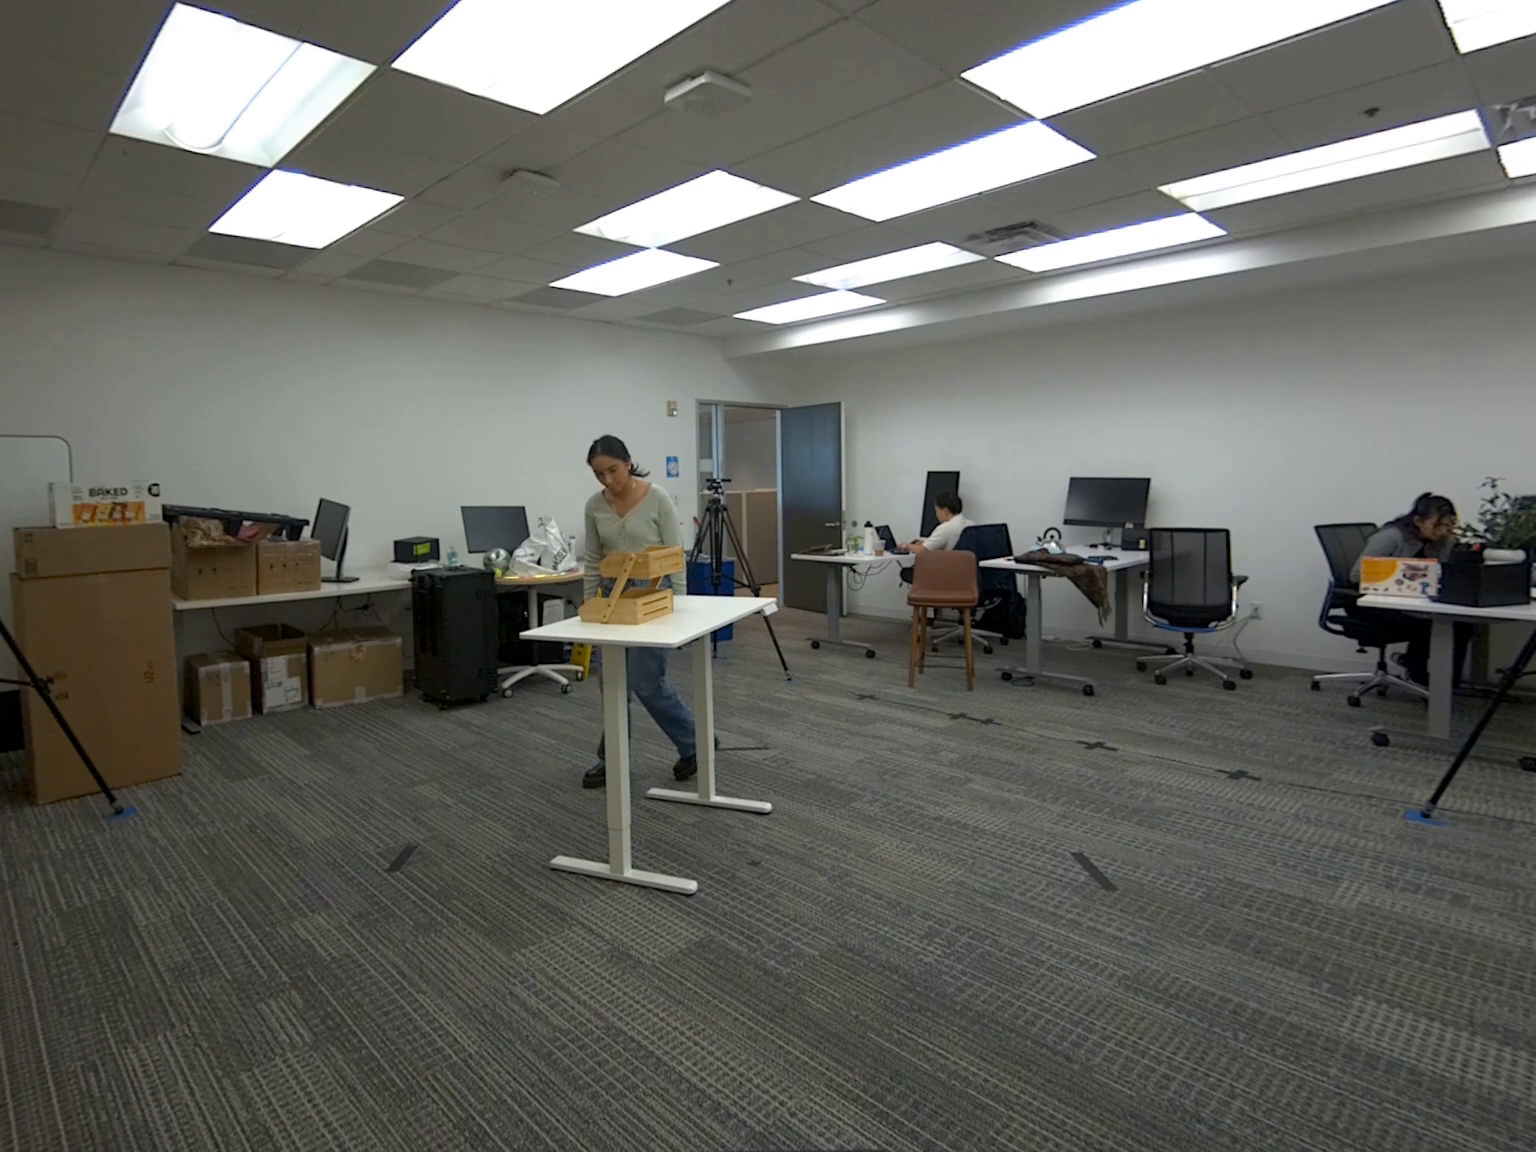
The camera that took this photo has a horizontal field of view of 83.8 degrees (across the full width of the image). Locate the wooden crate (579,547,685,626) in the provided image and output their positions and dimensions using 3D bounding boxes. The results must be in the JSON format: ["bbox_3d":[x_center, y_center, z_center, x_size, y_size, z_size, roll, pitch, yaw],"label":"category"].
[{"bbox_3d":[-0.522,0.027,3.228,0.308,0.272,0.320,1,6,19],"label":"wooden crate"}]
